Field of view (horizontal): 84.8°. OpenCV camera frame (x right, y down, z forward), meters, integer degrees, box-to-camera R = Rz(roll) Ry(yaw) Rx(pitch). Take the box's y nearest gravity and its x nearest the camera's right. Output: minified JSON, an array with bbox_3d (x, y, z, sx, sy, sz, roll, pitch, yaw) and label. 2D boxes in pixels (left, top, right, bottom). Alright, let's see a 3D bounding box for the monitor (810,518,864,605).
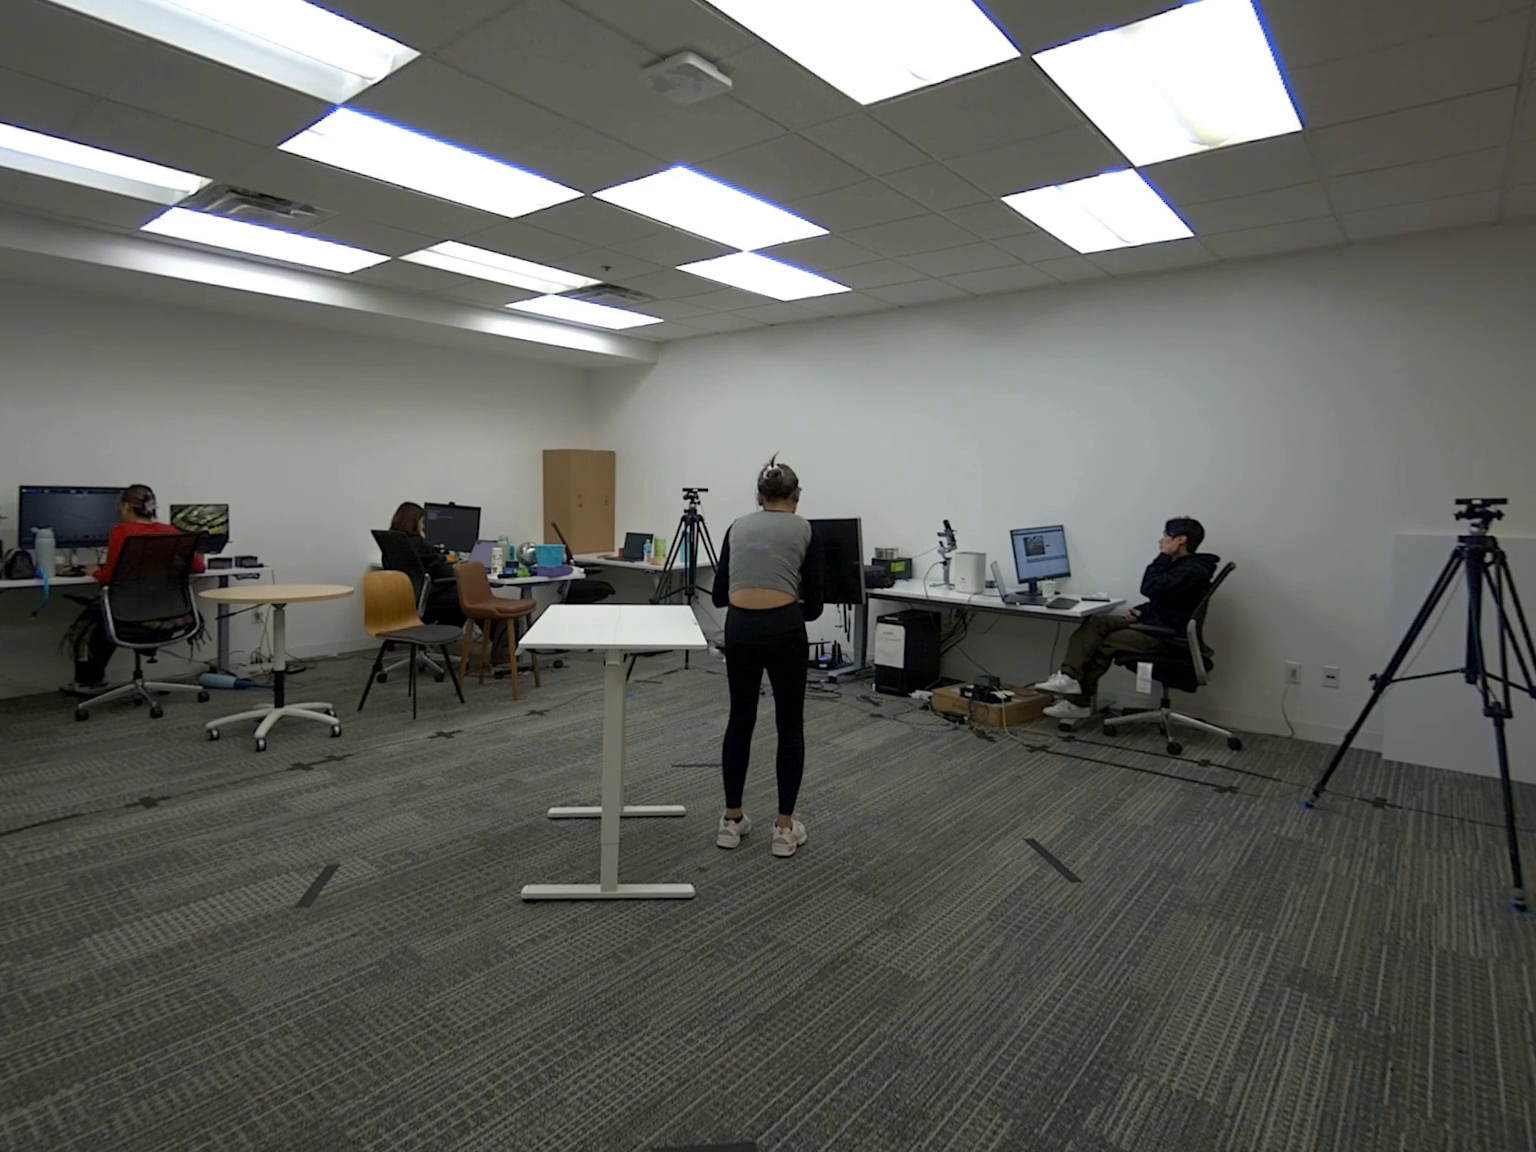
[{"bbox_3d":[0.118,0.020,3.601,0.554,0.525,0.181,0,-4,32],"label":"monitor"}]
